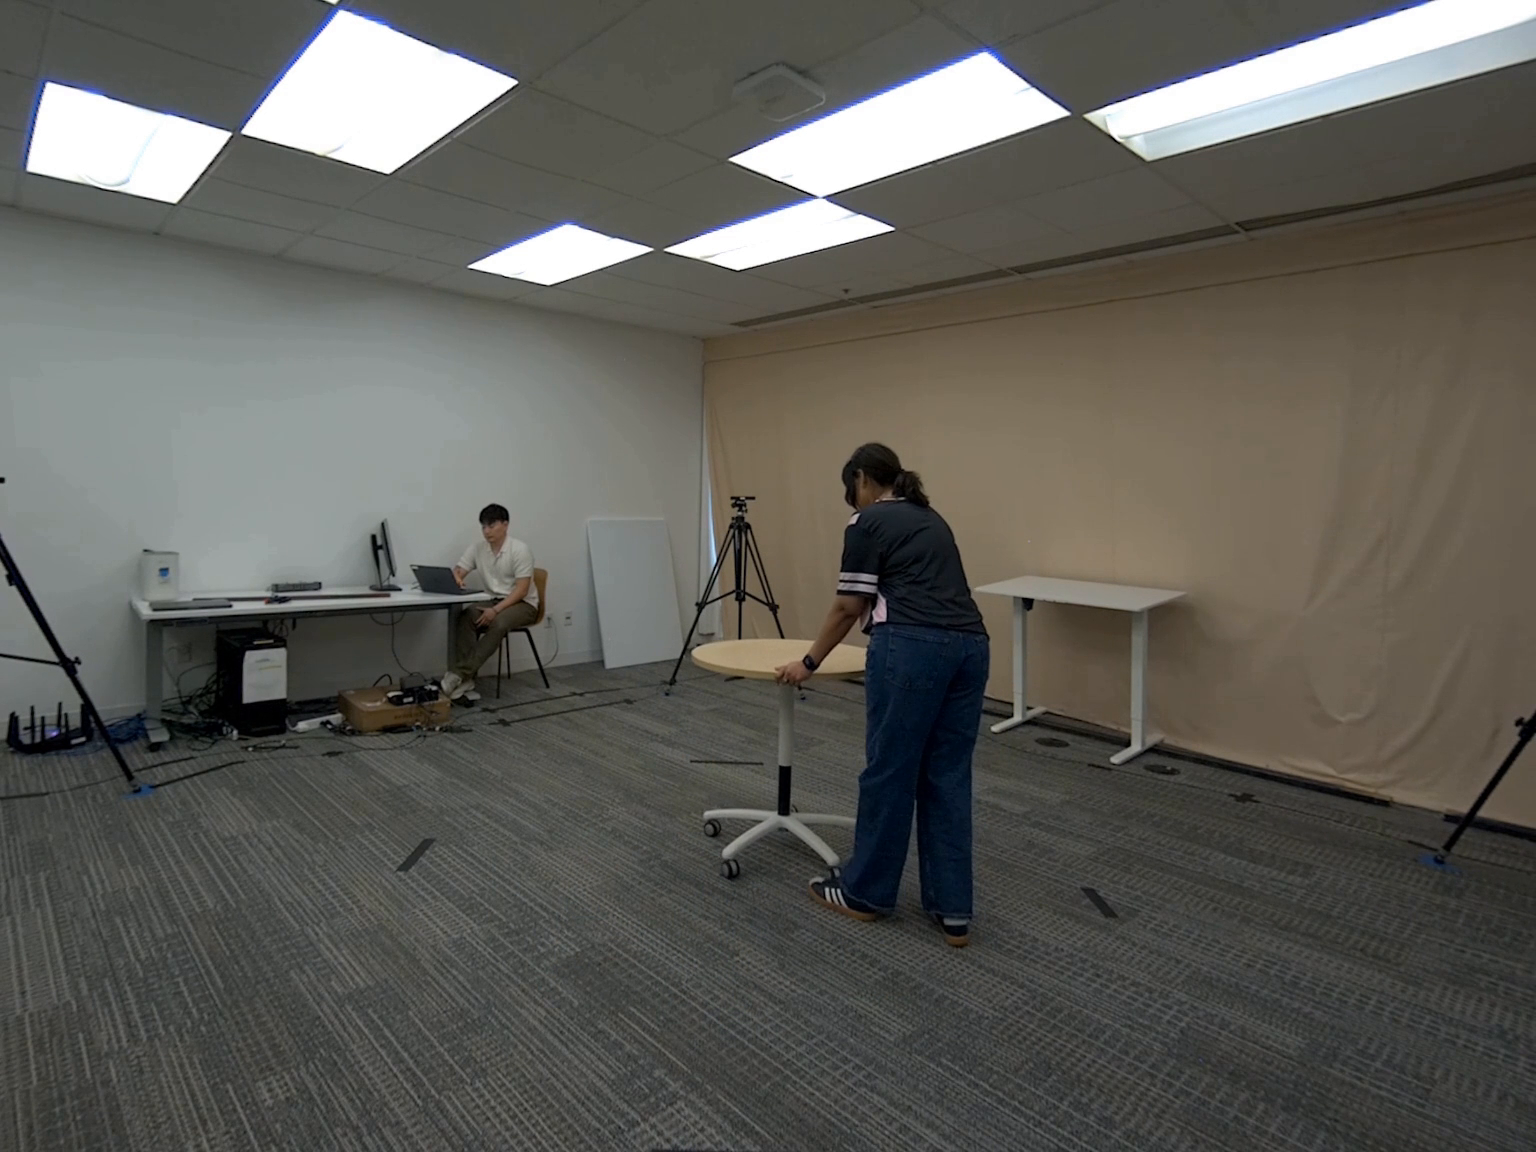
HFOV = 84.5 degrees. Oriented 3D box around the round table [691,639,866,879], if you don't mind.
[{"bbox_3d":[0.070,0.696,3.318,0.784,0.785,0.787,1,3,-1],"label":"round table"}]
